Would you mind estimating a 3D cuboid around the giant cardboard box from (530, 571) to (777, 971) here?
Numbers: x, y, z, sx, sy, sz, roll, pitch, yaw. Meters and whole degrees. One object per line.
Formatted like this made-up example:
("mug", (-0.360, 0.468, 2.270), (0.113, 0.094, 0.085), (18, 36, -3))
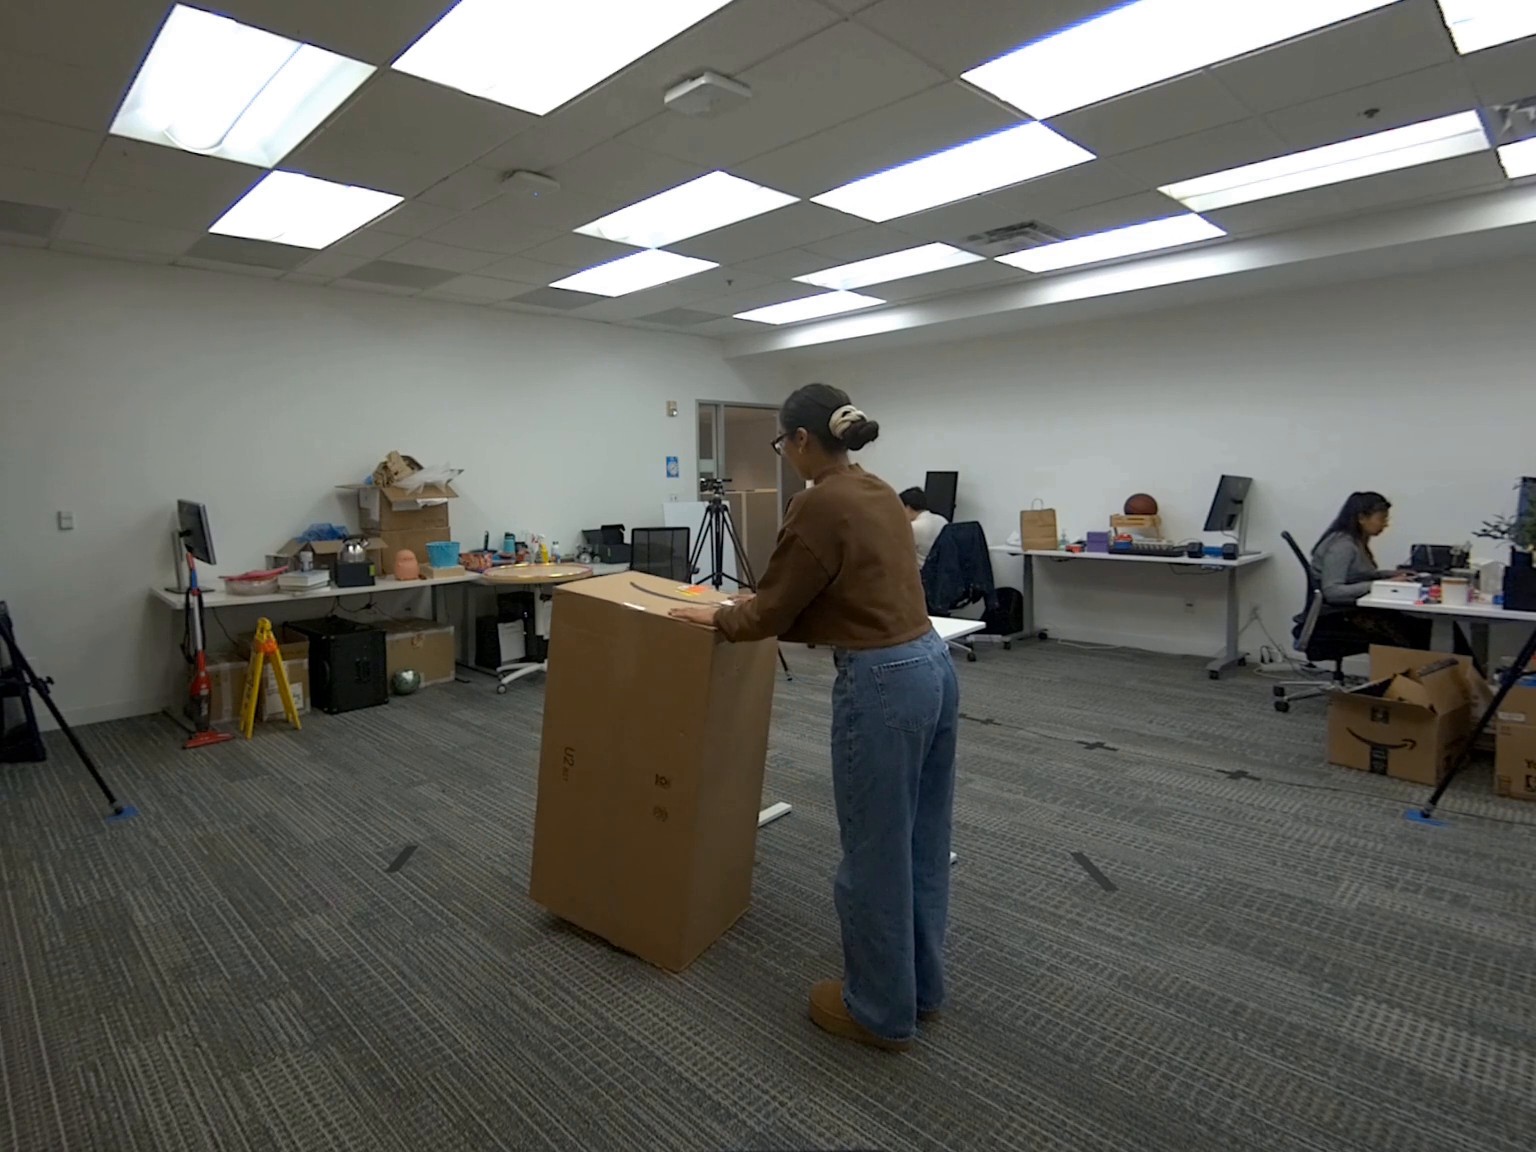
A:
("giant cardboard box", (-0.355, 0.558, 2.668), (0.594, 1.019, 0.417), (11, 10, 28))
